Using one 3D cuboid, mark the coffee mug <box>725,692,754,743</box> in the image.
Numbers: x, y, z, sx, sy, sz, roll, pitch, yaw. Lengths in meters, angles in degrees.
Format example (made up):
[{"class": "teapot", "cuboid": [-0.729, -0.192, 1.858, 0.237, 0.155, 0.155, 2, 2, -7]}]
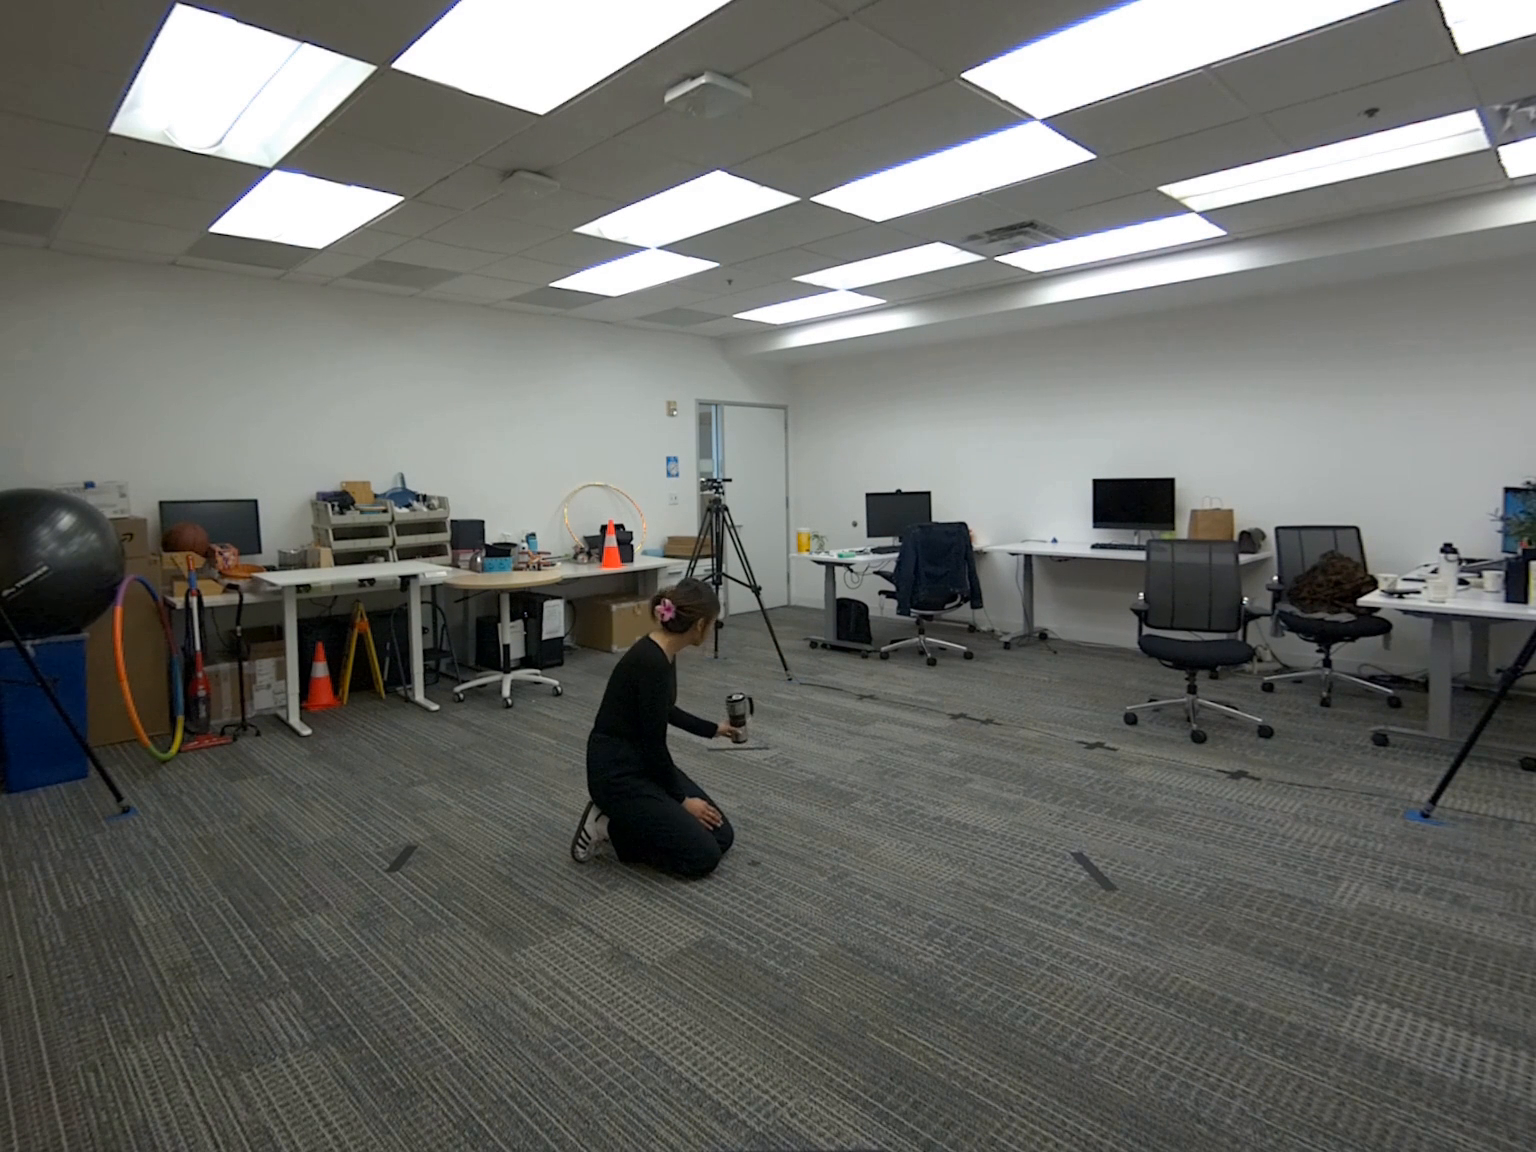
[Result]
[{"class": "coffee mug", "cuboid": [-0.108, 0.618, 3.643, 0.121, 0.201, 0.089, -13, 9, -14]}]
